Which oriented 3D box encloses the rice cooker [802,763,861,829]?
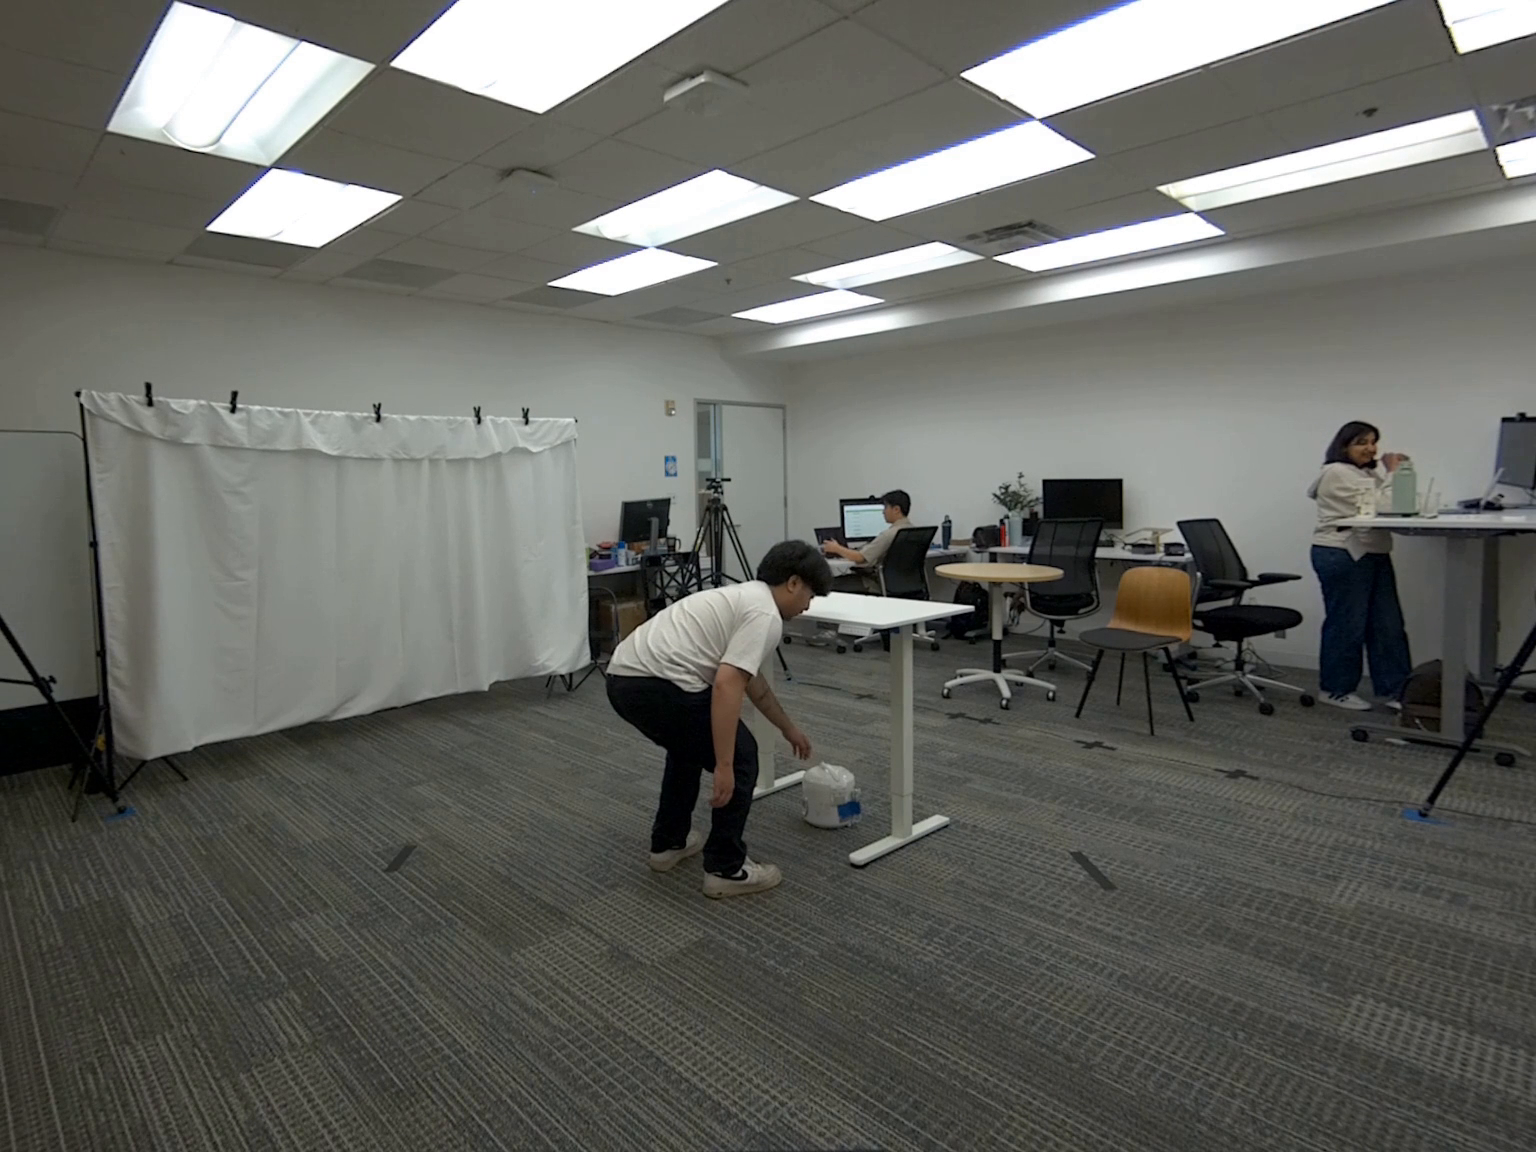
[{"bbox_3d":[0.245,0.881,3.463,0.214,0.232,0.225,-2,5,-16],"label":"rice cooker"}]
